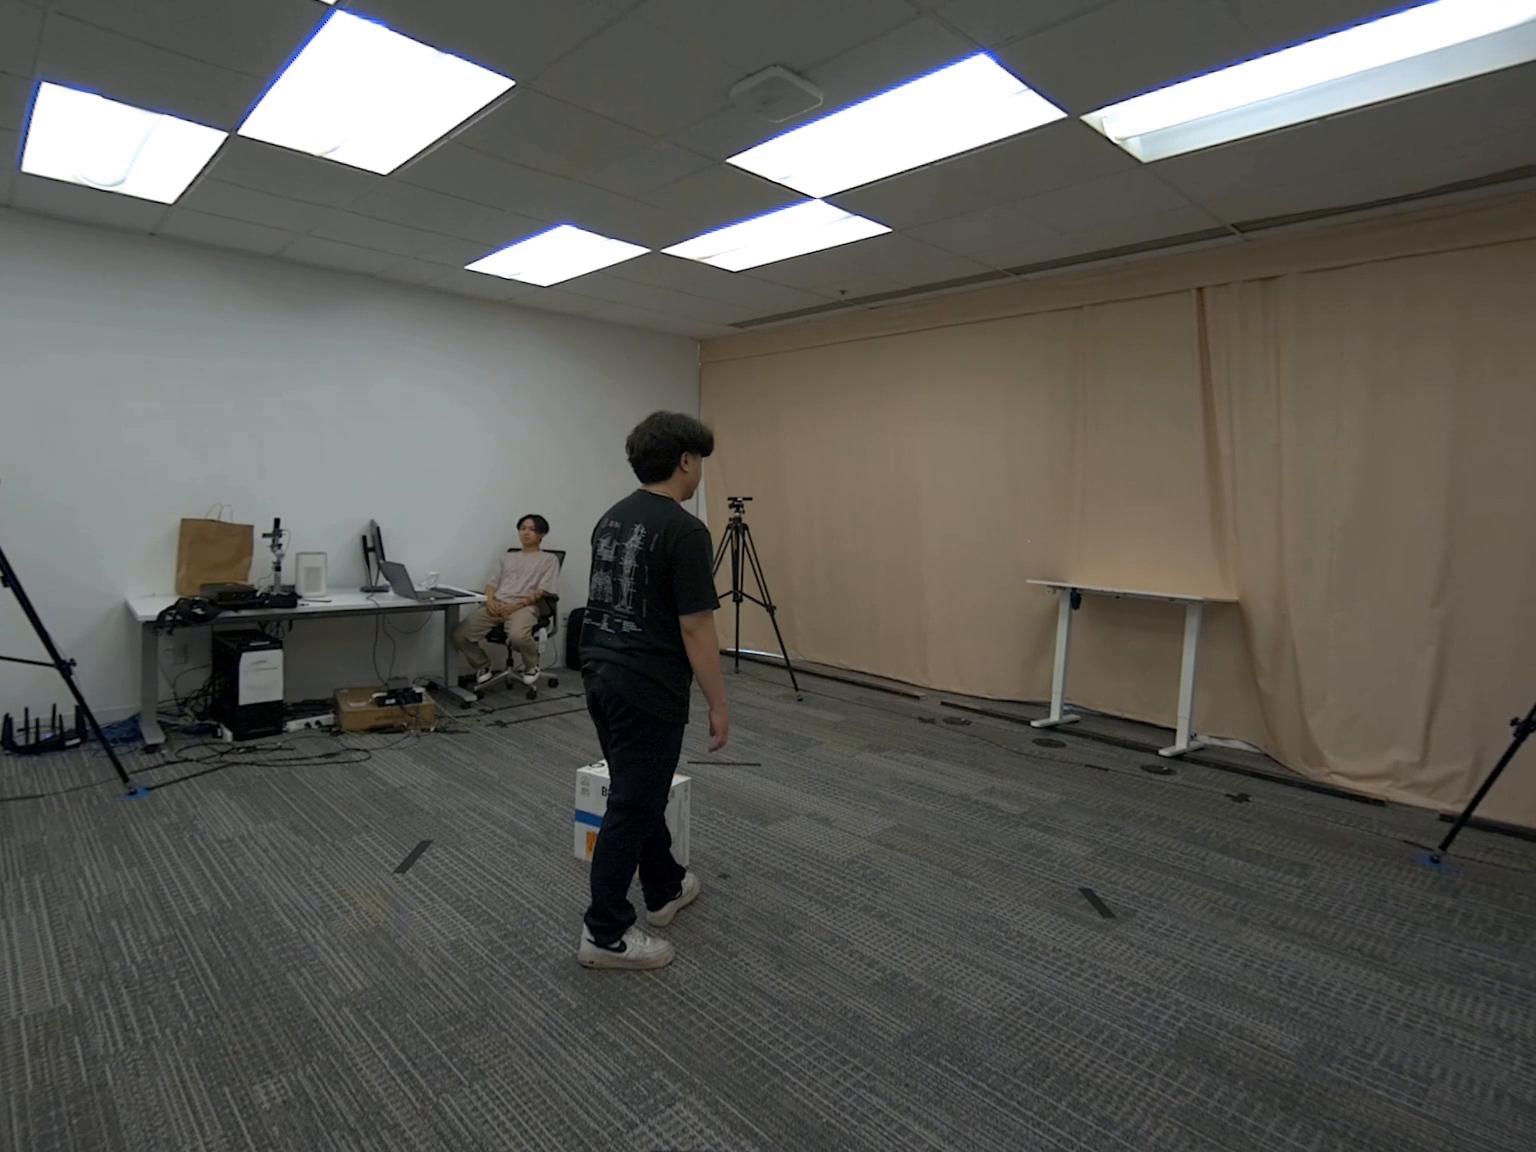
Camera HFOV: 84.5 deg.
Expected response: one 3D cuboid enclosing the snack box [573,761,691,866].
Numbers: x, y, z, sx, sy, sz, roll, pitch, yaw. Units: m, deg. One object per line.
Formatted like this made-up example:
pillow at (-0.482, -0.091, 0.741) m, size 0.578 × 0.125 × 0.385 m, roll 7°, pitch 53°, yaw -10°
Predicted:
snack box at (-0.523, 0.921, 3.208) m, size 0.414 × 0.339 × 0.201 m, roll 5°, pitch 4°, yaw 31°
